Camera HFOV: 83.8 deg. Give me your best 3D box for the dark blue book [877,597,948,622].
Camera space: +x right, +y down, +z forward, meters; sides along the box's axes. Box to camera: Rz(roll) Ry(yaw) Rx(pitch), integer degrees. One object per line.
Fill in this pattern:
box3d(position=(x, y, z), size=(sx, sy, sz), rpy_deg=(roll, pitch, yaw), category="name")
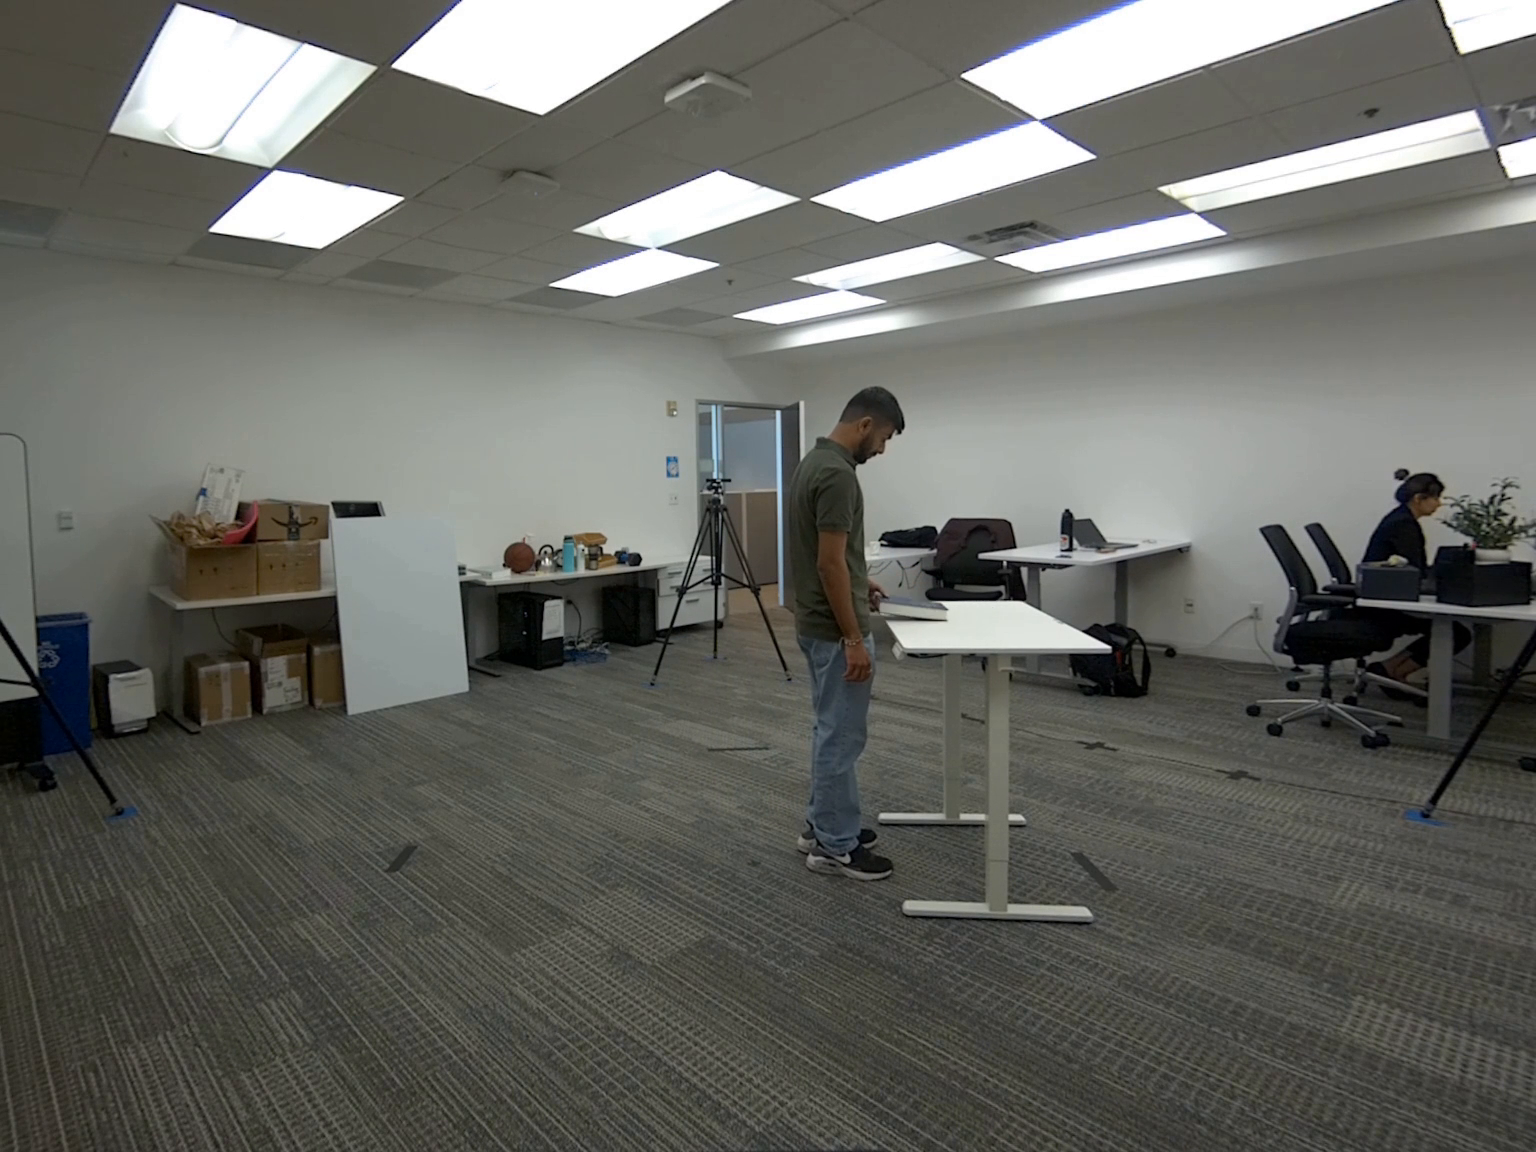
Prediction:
box3d(position=(0.523, 0.113, 3.108), size=(0.246, 0.045, 0.163), rpy_deg=(6, 6, 2), category="dark blue book")
